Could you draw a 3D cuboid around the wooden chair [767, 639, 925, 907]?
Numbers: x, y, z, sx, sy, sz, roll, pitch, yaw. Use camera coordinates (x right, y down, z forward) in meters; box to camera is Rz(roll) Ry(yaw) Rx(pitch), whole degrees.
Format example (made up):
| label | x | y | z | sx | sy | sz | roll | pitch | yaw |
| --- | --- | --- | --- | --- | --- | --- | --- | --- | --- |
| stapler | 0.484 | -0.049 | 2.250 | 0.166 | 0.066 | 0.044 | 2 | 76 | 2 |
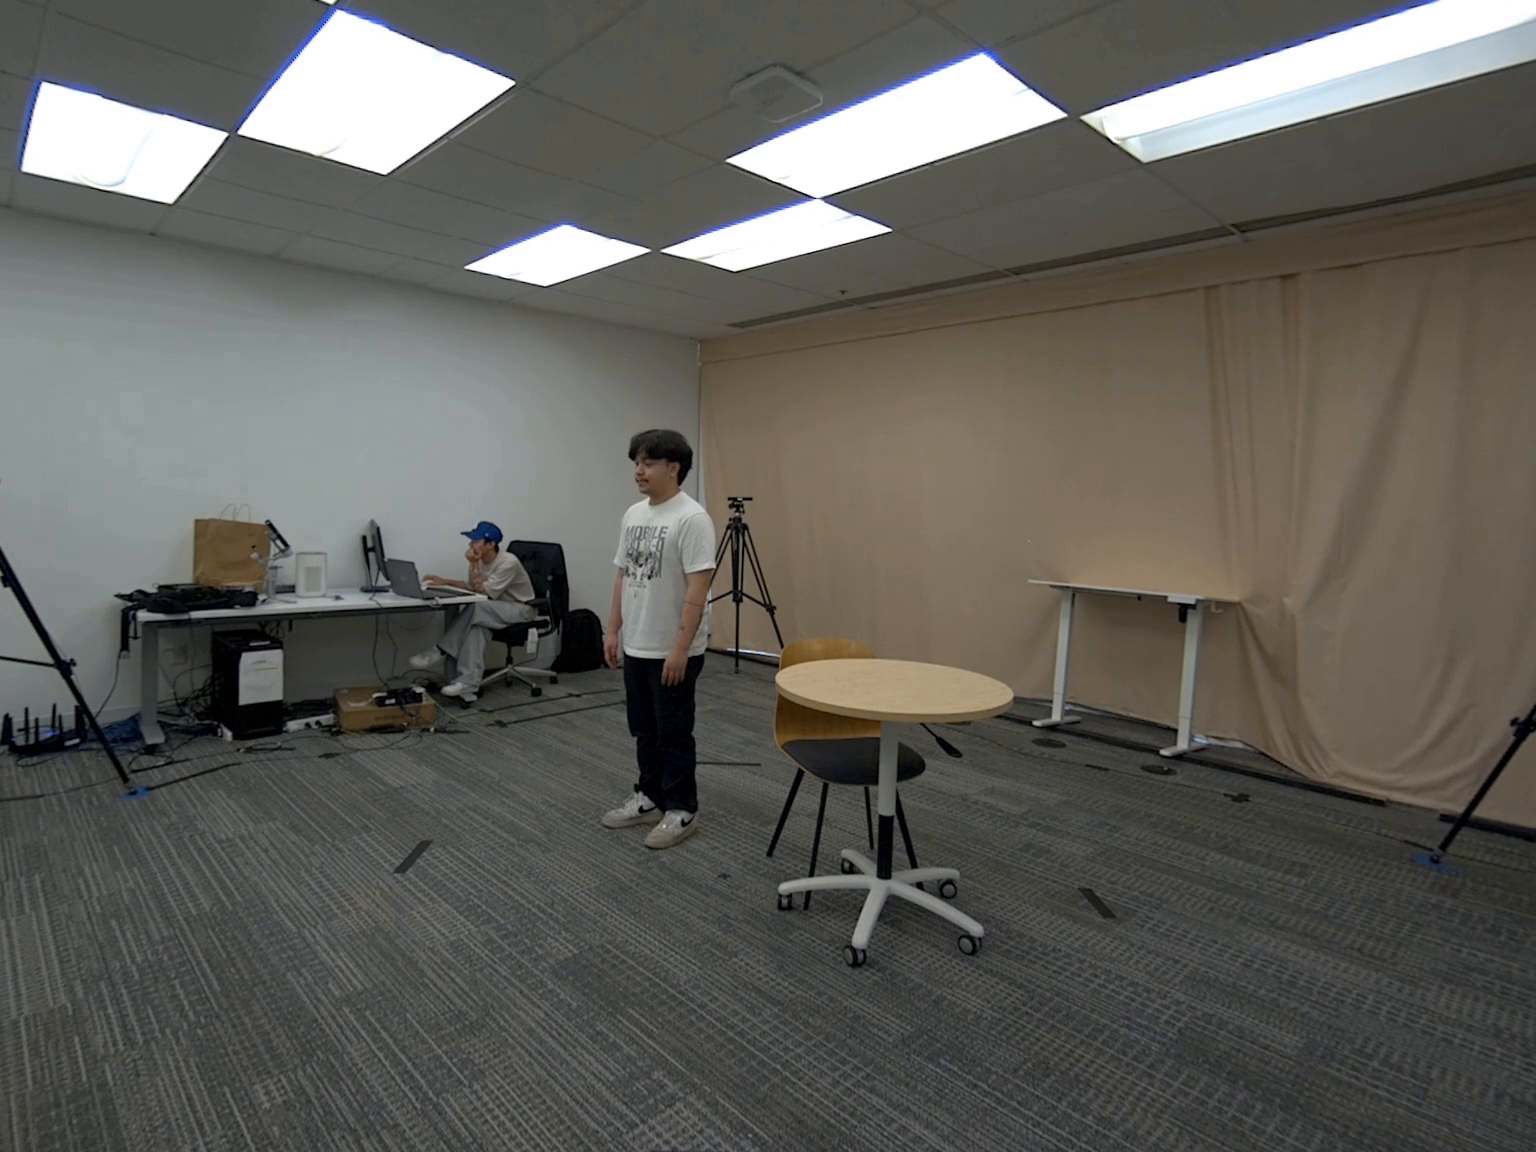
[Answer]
| label | x | y | z | sx | sy | sz | roll | pitch | yaw |
| --- | --- | --- | --- | --- | --- | --- | --- | --- | --- |
| wooden chair | 0.276 | 0.691 | 3.092 | 0.472 | 0.878 | 0.529 | 1 | -1 | -16 |
